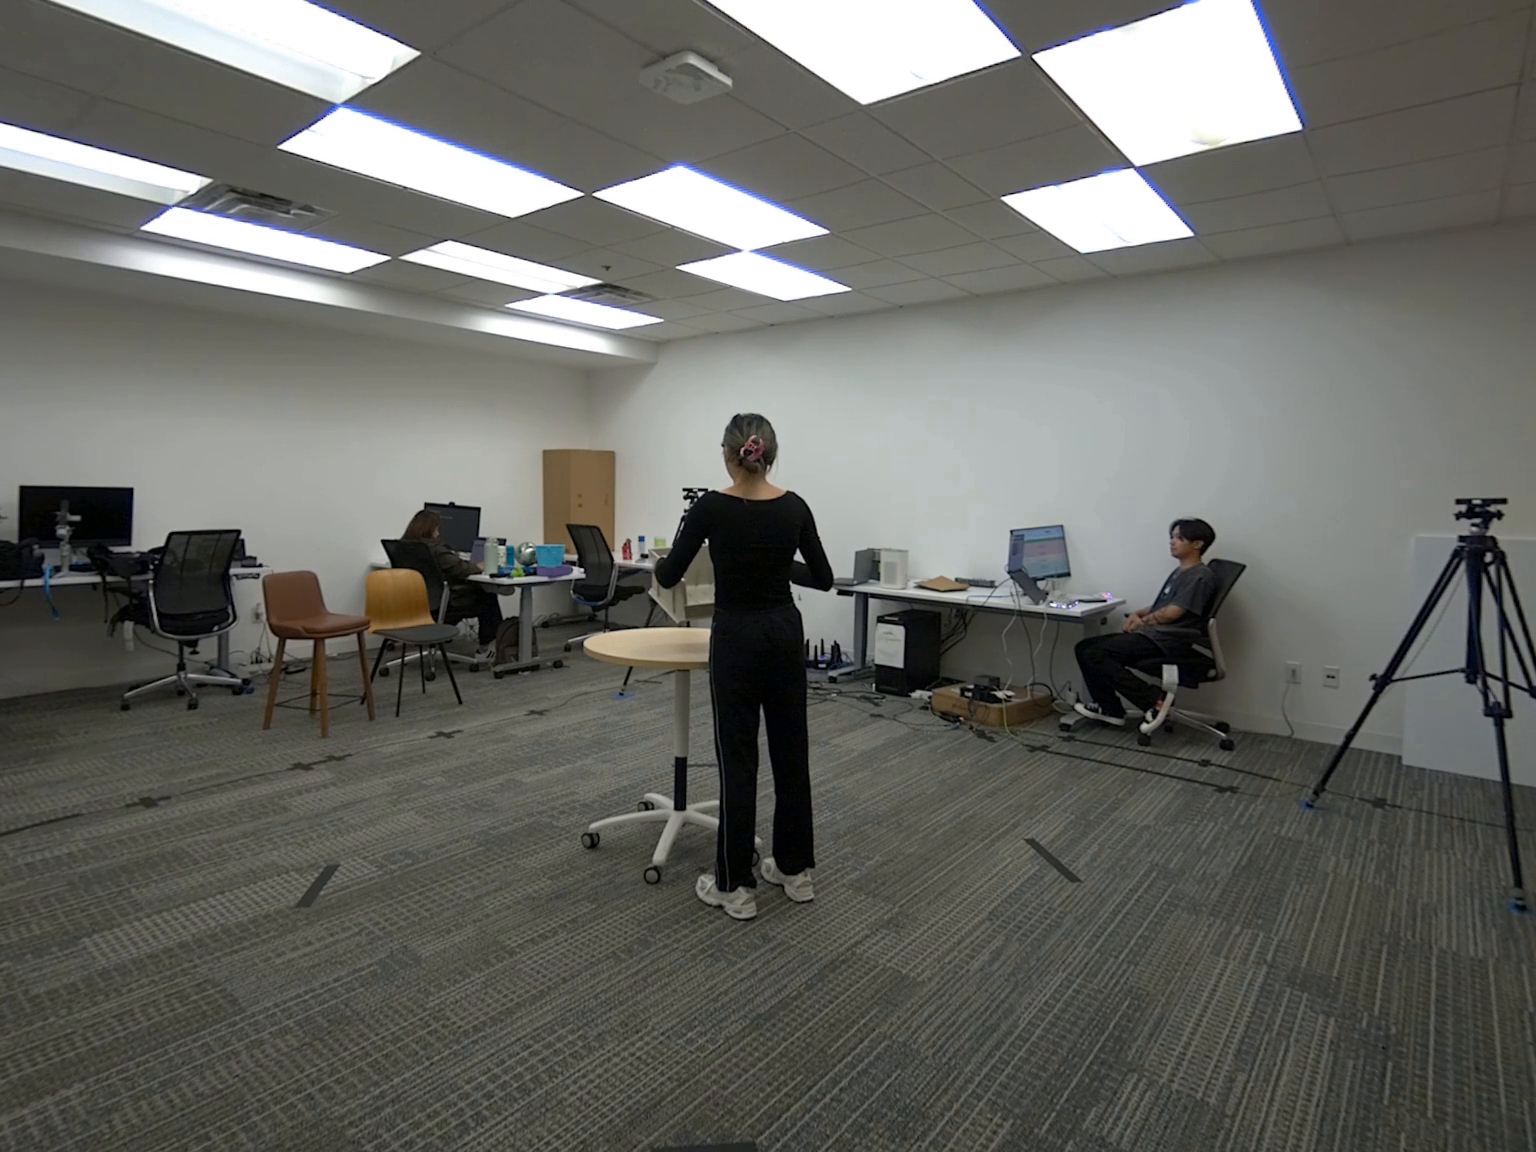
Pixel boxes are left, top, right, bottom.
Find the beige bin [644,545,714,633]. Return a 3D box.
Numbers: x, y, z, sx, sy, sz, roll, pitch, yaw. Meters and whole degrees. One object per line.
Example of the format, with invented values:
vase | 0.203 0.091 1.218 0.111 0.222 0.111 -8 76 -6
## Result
beige bin | -0.207 0.028 3.224 0.413 0.186 0.392 -6 21 -26
